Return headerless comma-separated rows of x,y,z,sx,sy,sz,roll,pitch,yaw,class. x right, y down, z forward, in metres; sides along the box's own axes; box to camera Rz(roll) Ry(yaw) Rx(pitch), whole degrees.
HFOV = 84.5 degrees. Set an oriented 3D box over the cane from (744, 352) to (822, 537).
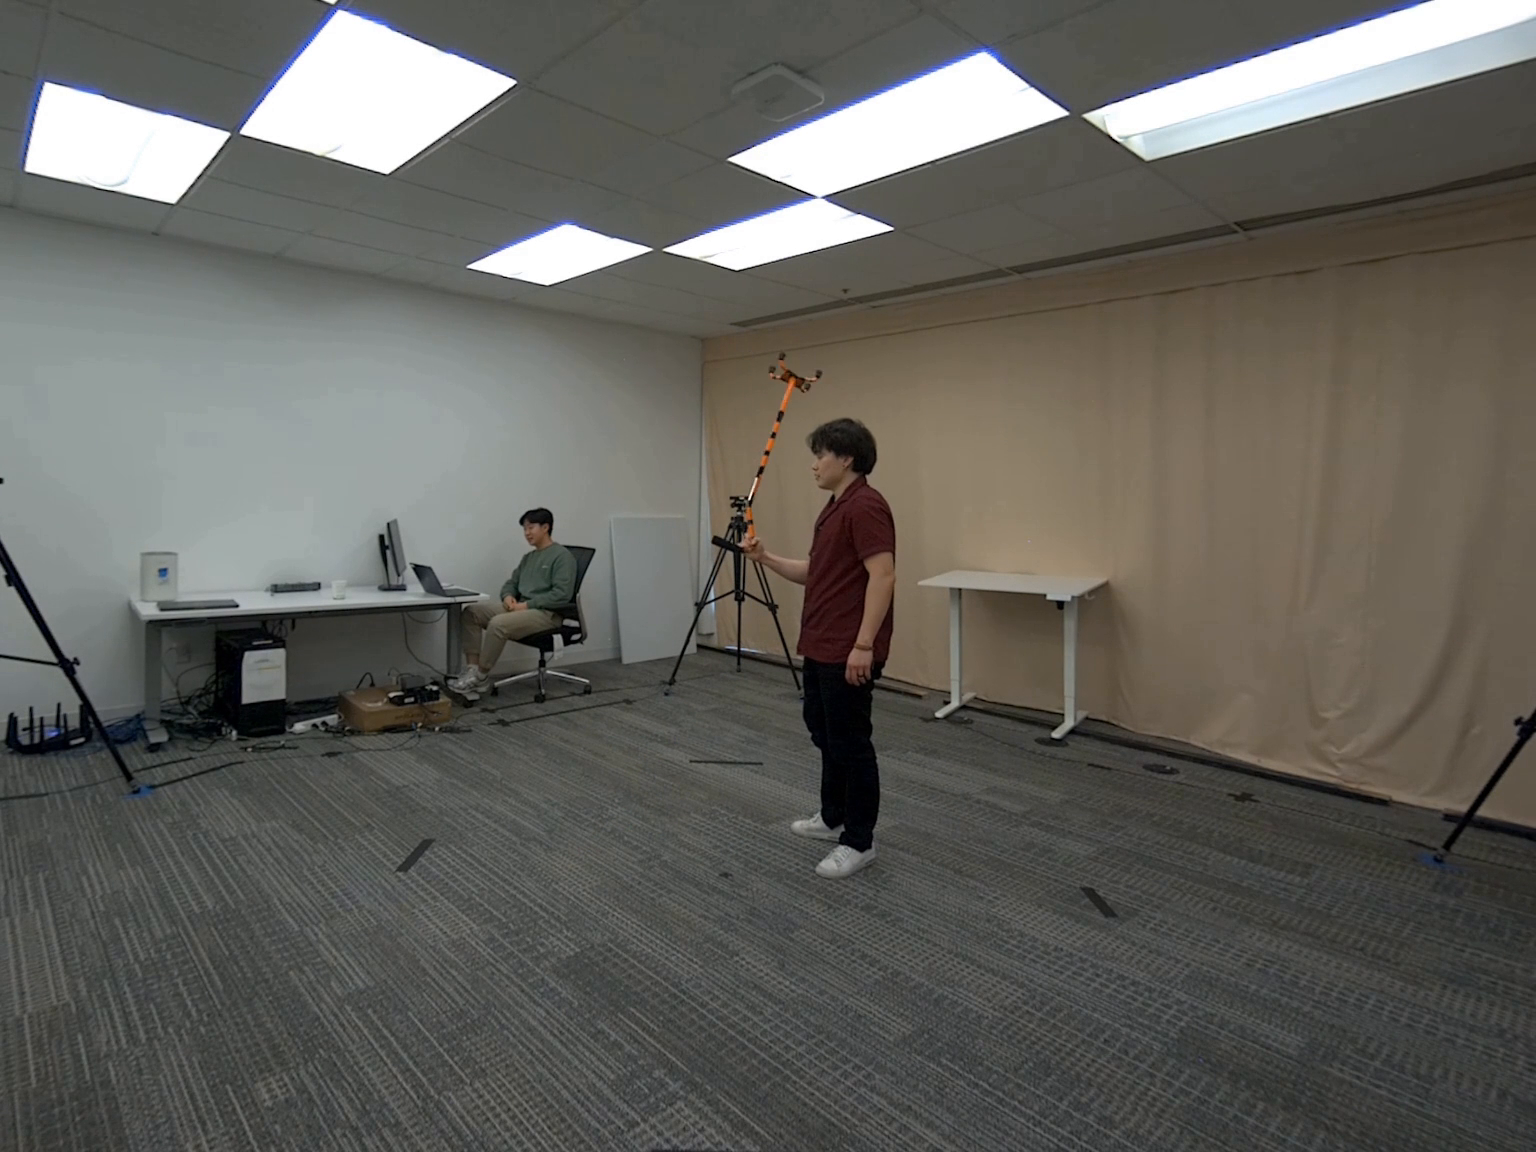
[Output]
-0.014,-0.498,3.509,0.204,0.916,0.152,22,-22,-11,cane
